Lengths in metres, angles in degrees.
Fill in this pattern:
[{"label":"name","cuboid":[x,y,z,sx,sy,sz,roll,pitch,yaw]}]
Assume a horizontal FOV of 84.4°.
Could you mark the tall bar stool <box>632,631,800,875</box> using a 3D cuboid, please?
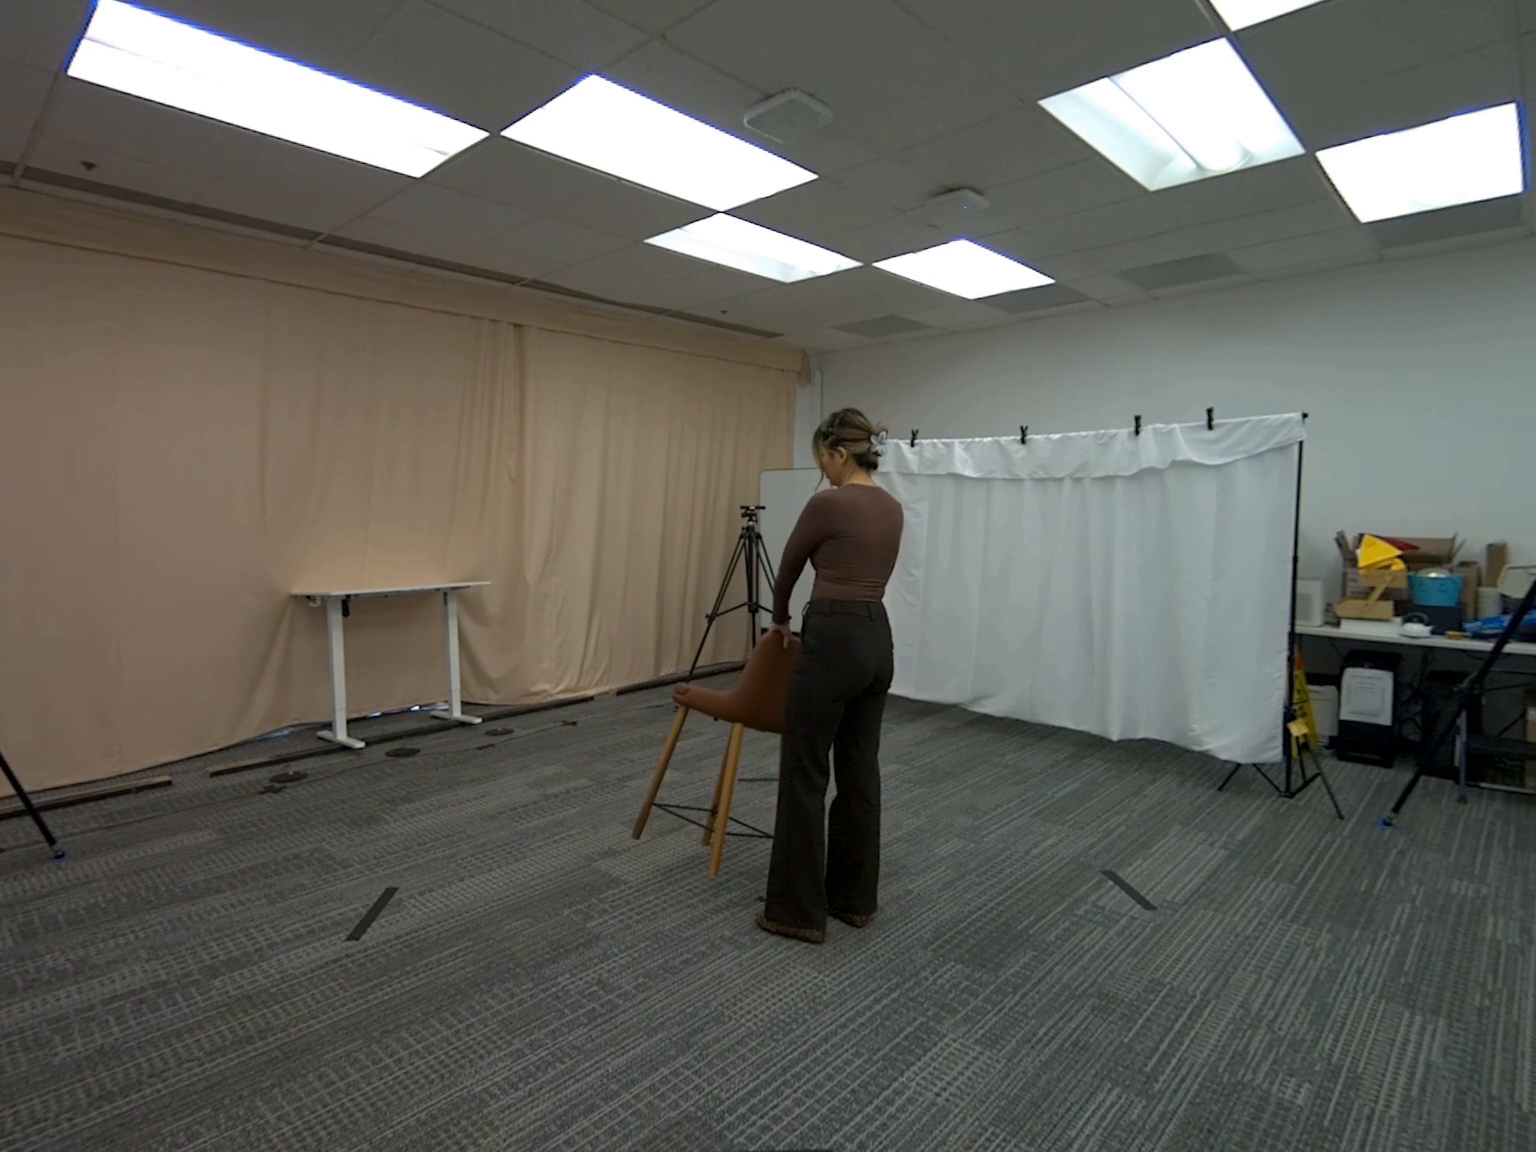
[{"label":"tall bar stool","cuboid":[-0.122,0.647,3.246,0.484,0.892,0.440,7,-10,46]}]
